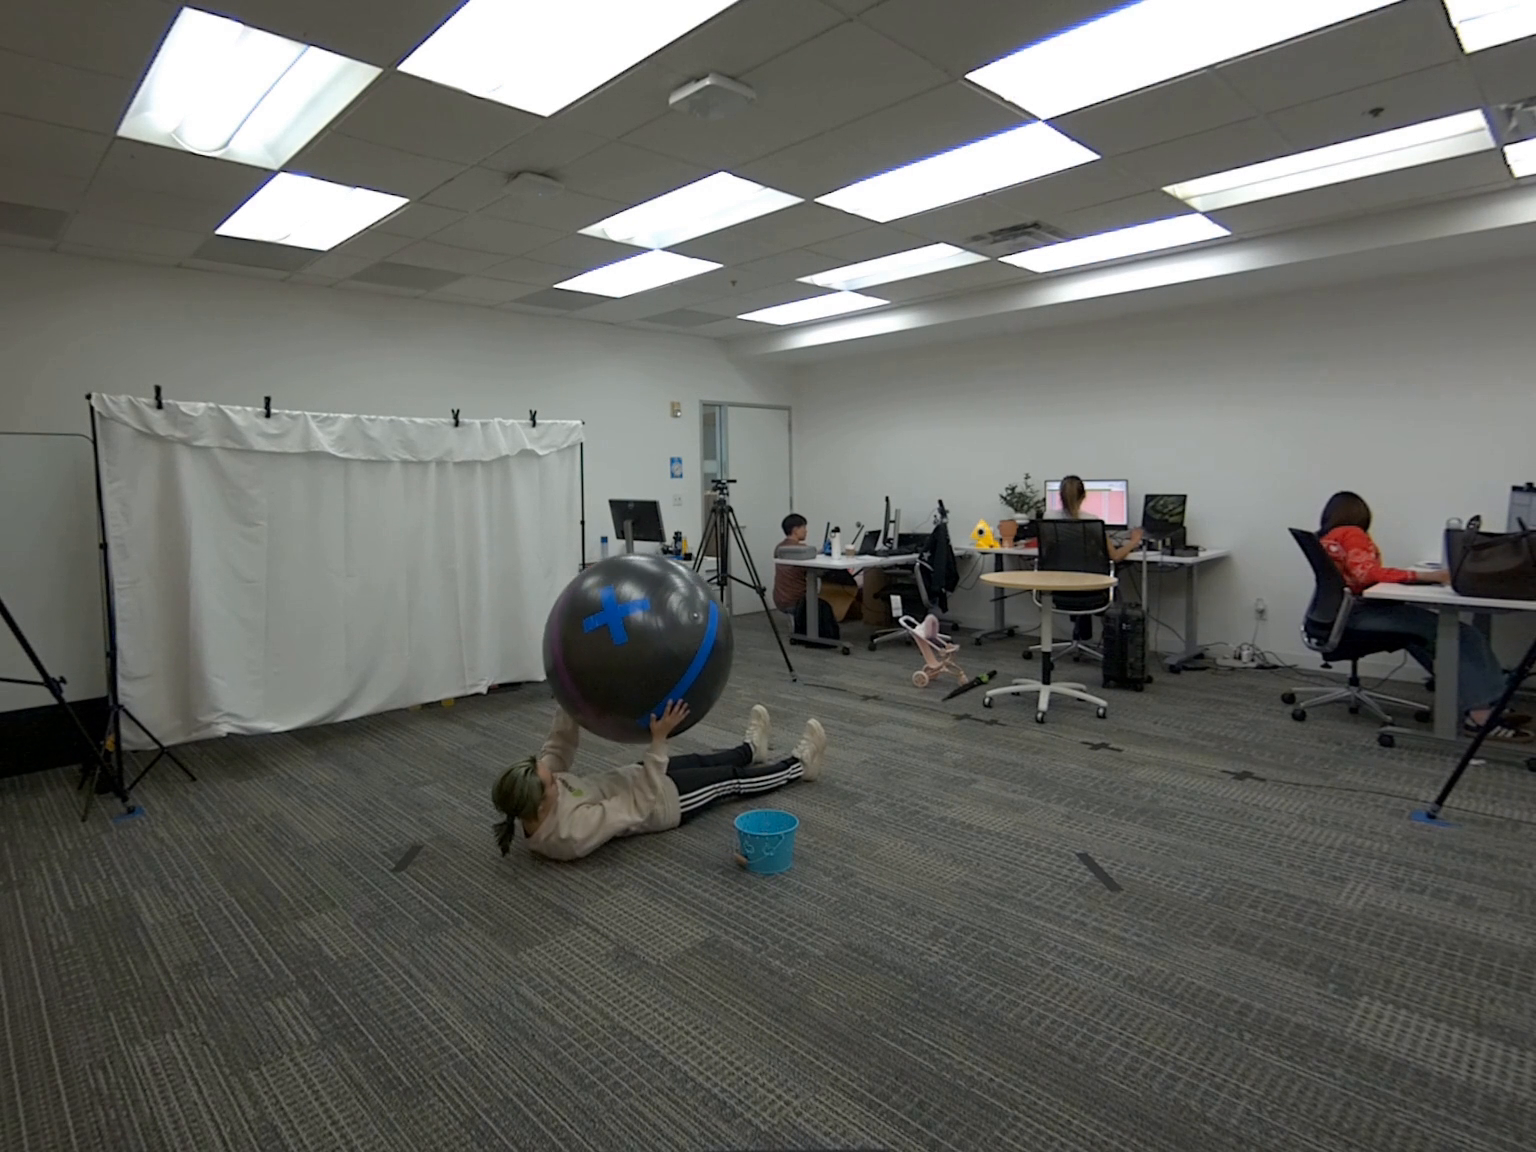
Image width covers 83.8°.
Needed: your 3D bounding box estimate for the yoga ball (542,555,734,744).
[{"bbox_3d":[-0.512,0.290,3.418,0.757,0.755,0.762,-1,5,-2],"label":"yoga ball"}]
